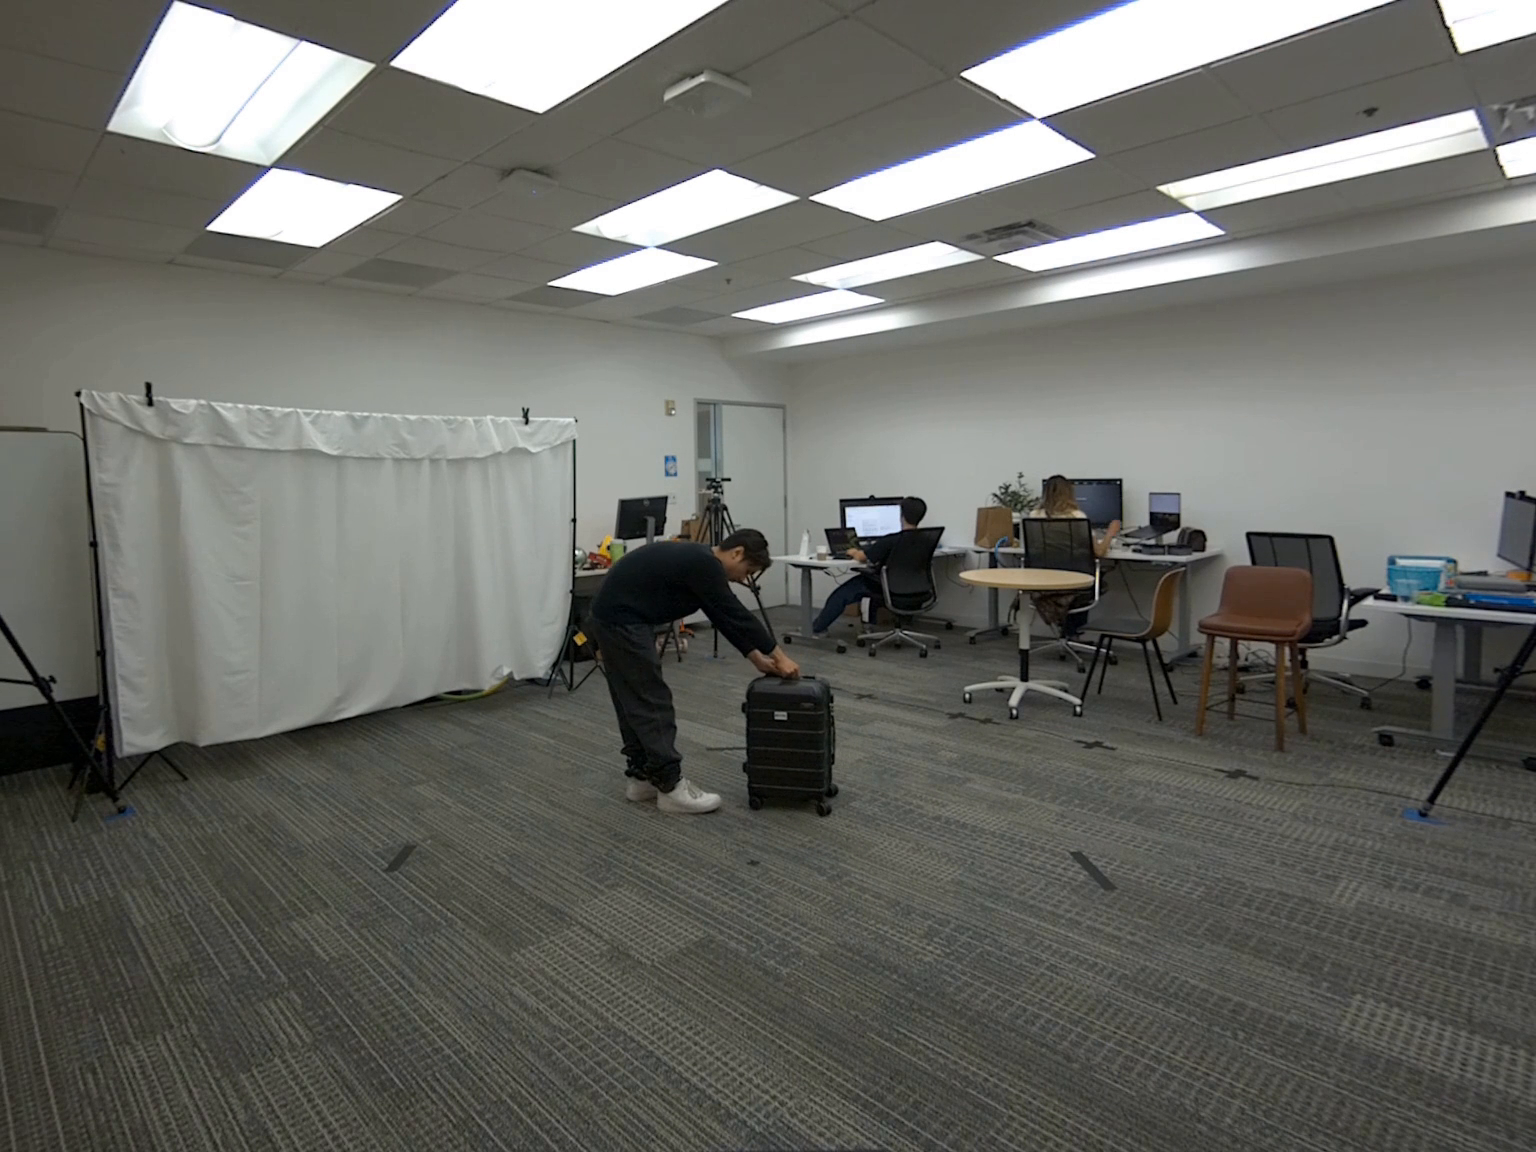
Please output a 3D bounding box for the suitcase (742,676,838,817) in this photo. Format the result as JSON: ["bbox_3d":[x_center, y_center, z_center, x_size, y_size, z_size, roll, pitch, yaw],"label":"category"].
[{"bbox_3d":[0.102,0.708,3.671,0.381,0.547,0.246,0,5,15],"label":"suitcase"}]
